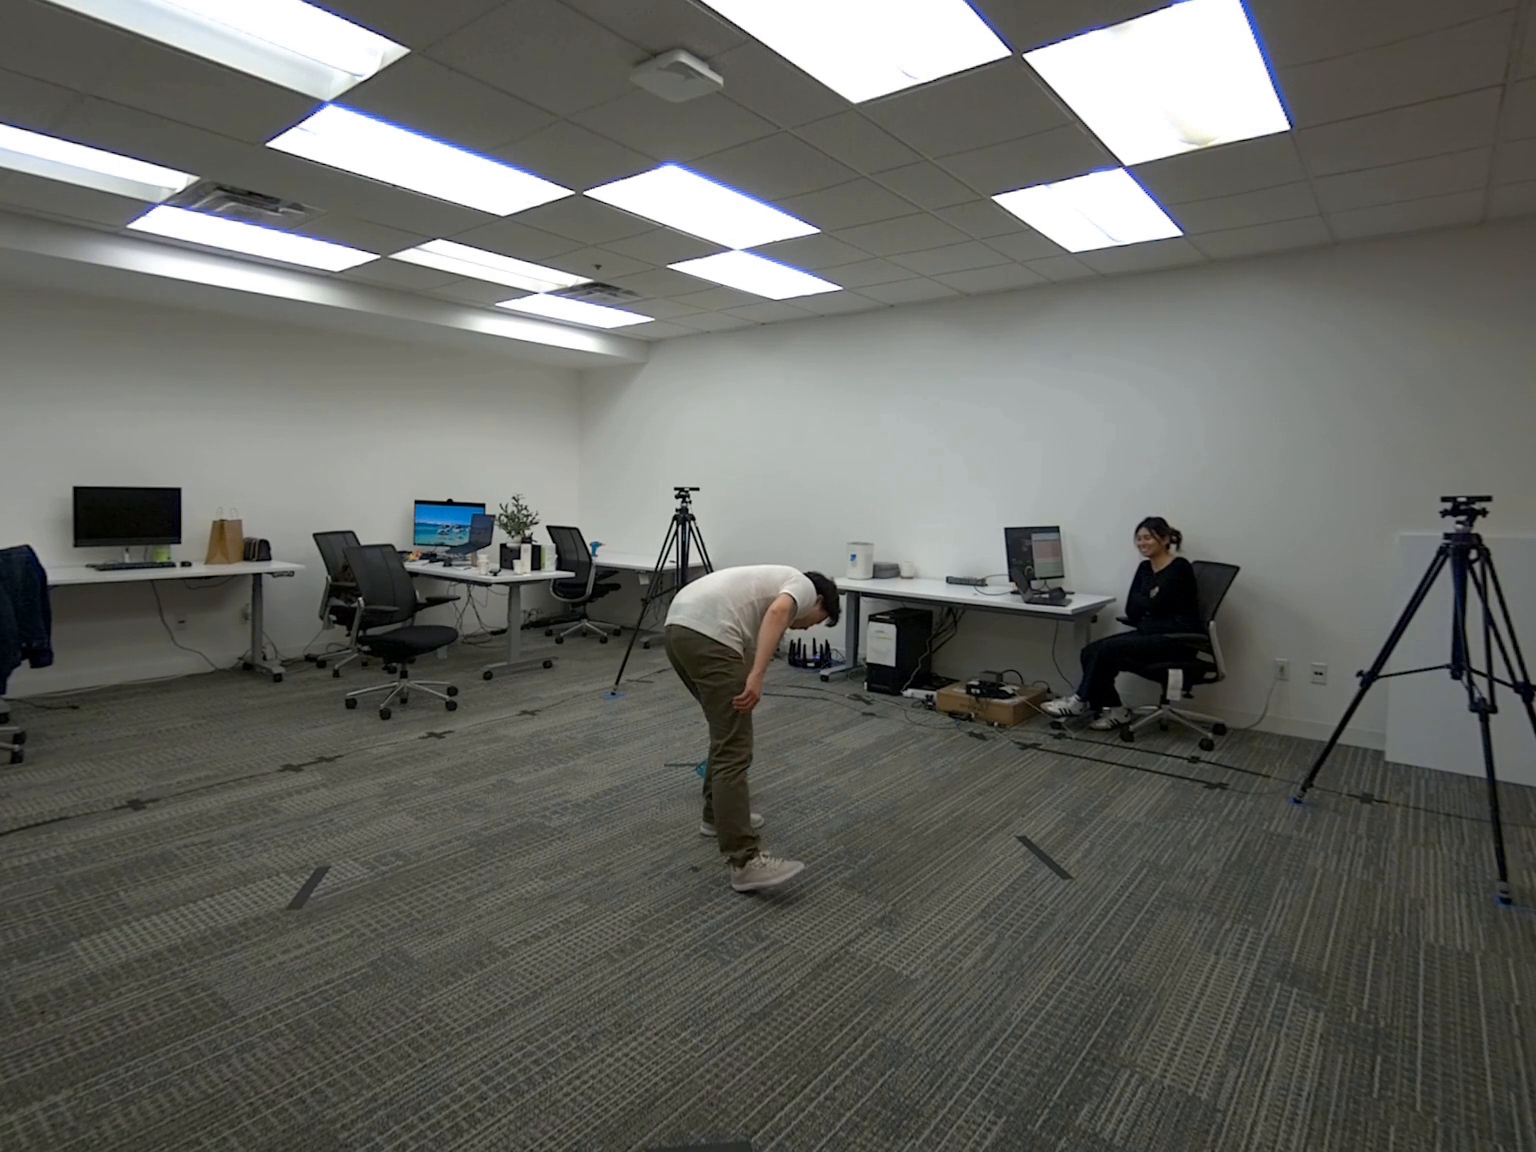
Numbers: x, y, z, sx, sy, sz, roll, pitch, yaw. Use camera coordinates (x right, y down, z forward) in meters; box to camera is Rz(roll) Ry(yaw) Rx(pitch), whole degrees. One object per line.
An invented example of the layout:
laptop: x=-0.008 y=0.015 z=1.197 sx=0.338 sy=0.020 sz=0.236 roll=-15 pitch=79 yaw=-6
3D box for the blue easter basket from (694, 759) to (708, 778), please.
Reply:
blue easter basket: x=-0.201 y=0.866 z=3.827 sx=0.242 sy=0.159 sz=0.239 roll=-30 pitch=-15 yaw=-12
